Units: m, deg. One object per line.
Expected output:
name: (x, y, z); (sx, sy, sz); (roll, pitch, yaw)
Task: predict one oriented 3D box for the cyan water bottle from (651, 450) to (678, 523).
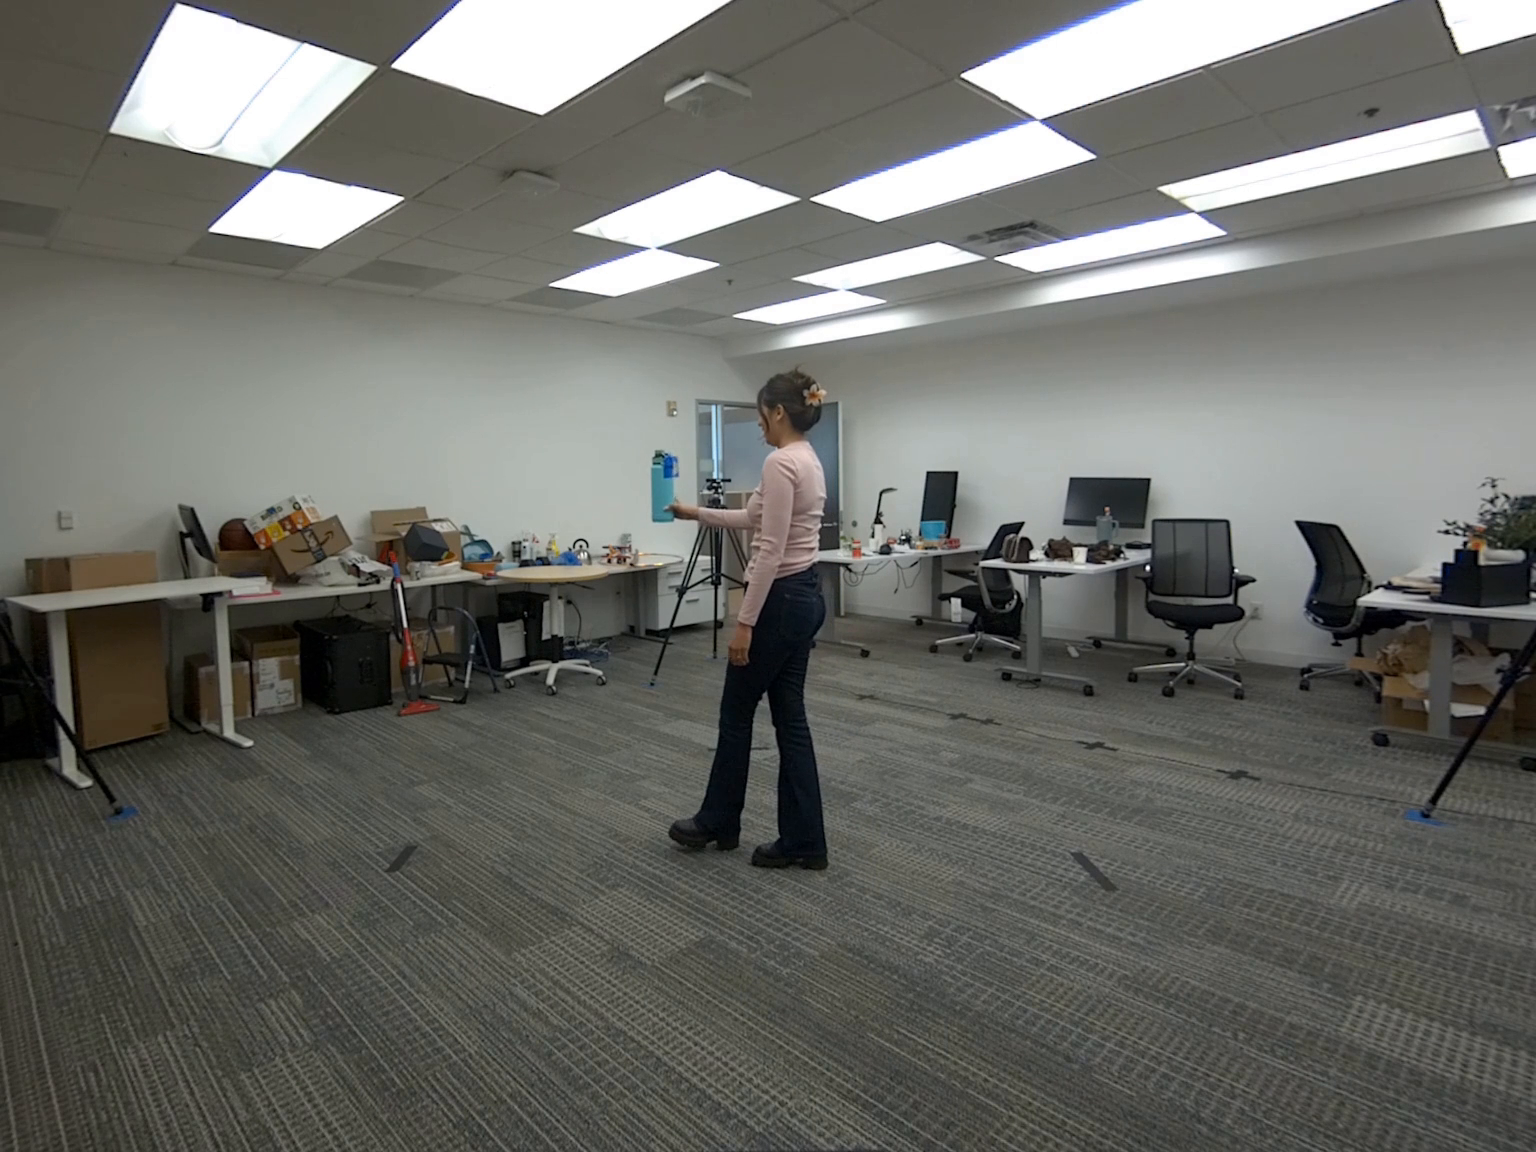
cyan water bottle: (-0.423, -0.359, 3.391); (0.092, 0.281, 0.093); (1, 7, -2)
